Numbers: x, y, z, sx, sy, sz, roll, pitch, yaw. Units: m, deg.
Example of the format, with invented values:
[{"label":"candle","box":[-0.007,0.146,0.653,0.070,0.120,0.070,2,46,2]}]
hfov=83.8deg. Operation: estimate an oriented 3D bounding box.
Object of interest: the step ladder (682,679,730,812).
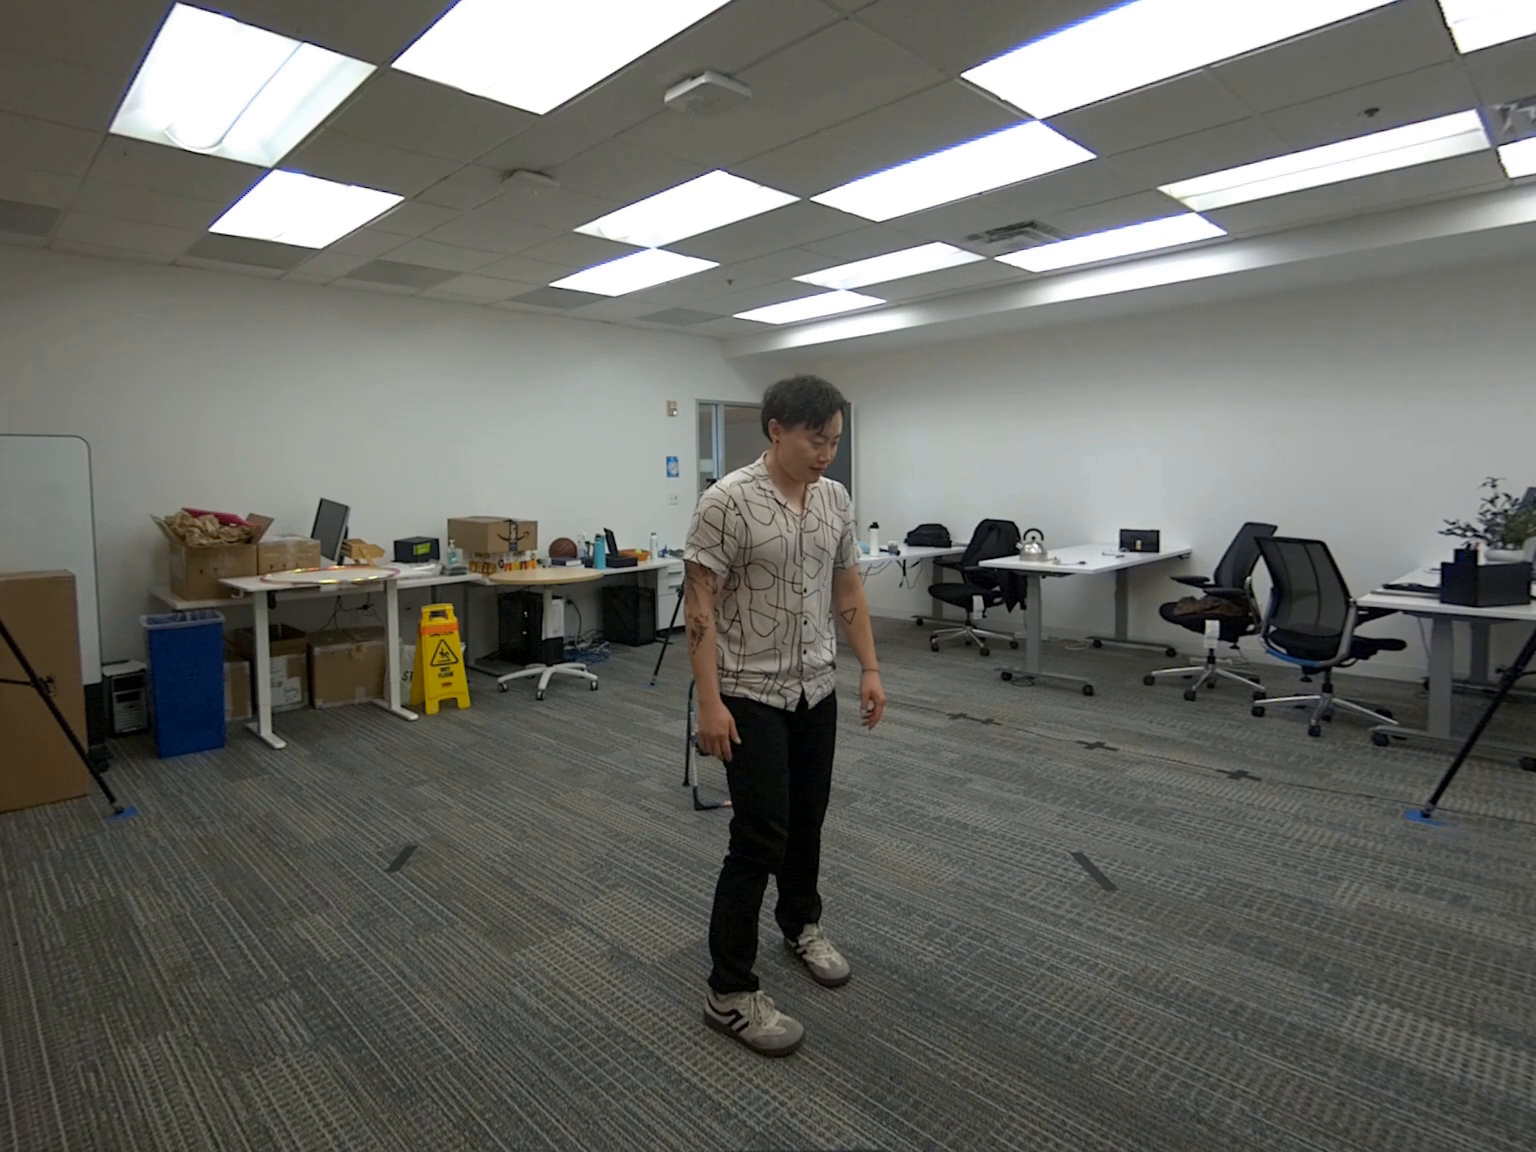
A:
[{"label":"step ladder","box":[-0.153,0.669,3.792,0.426,0.604,0.355,-2,5,-12]}]
